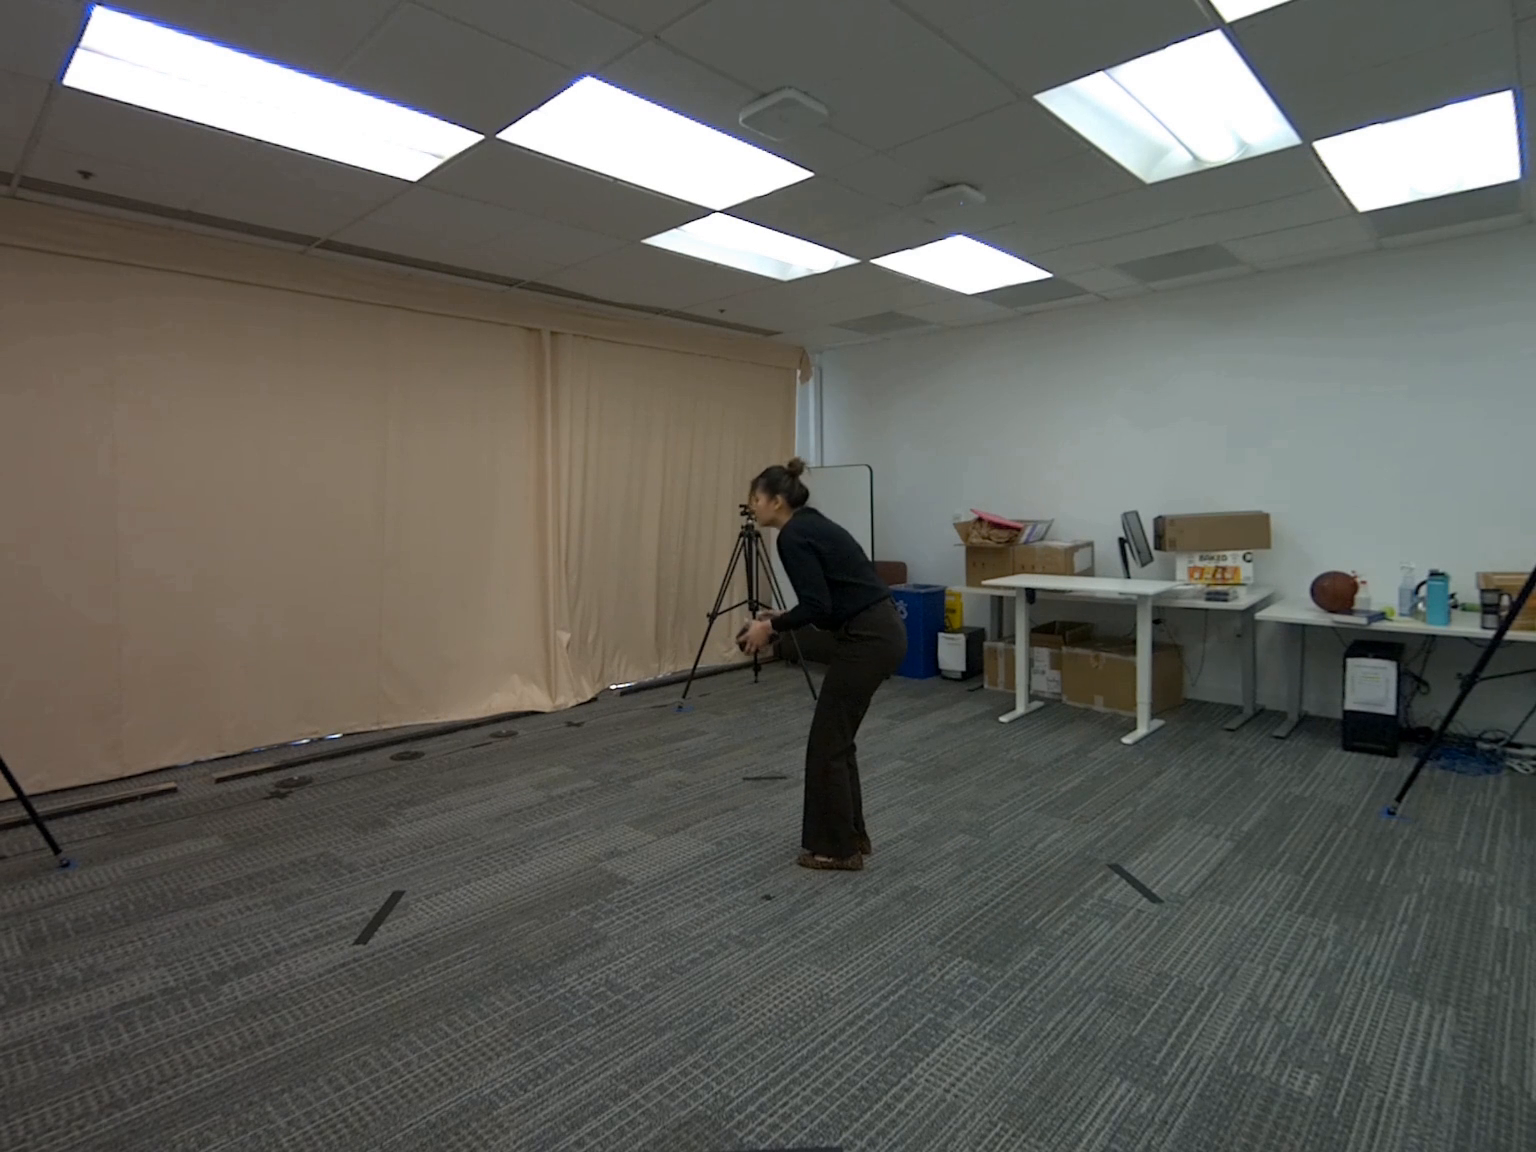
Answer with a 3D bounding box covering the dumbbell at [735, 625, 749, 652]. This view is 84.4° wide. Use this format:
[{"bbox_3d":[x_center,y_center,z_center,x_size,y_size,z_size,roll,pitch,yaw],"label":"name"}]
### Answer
[{"bbox_3d":[-0.018,0.234,3.360,0.110,0.123,0.290,-24,0,16],"label":"dumbbell"}]
